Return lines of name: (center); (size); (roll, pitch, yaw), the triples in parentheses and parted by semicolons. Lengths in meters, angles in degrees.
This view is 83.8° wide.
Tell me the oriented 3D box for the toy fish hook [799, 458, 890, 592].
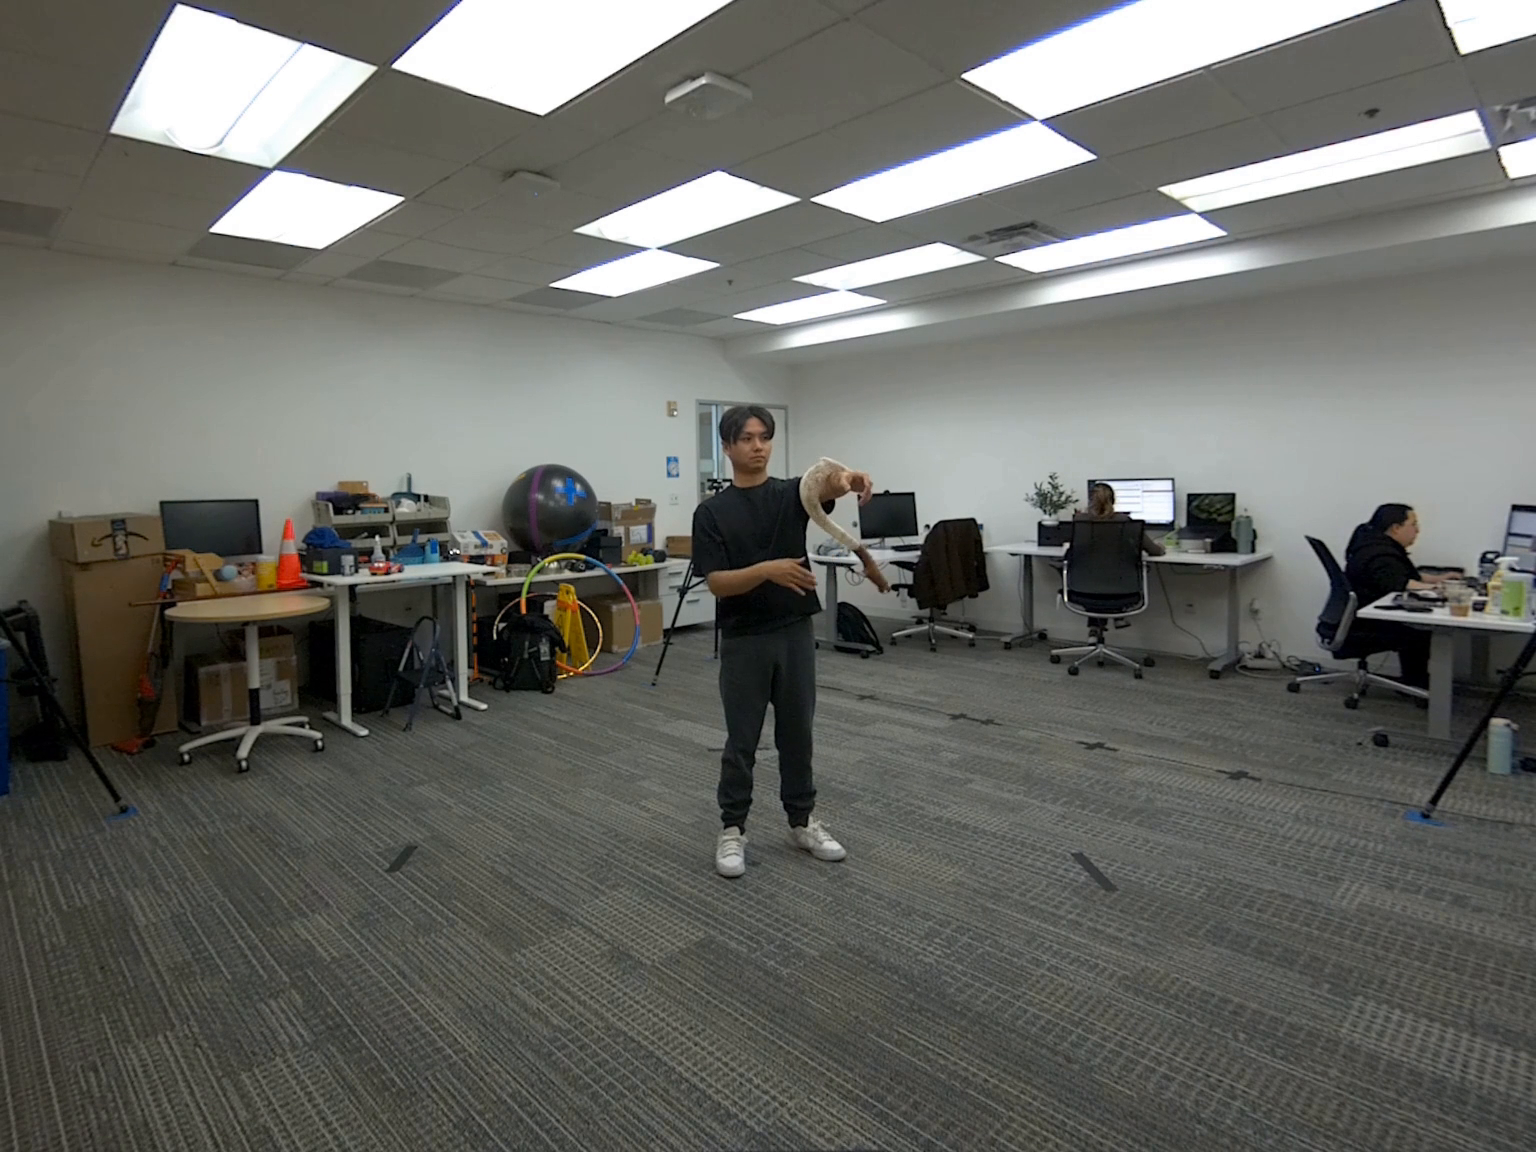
toy fish hook: (0.290, -0.170, 2.836); (0.224, 0.496, 0.049); (-42, 17, -11)
